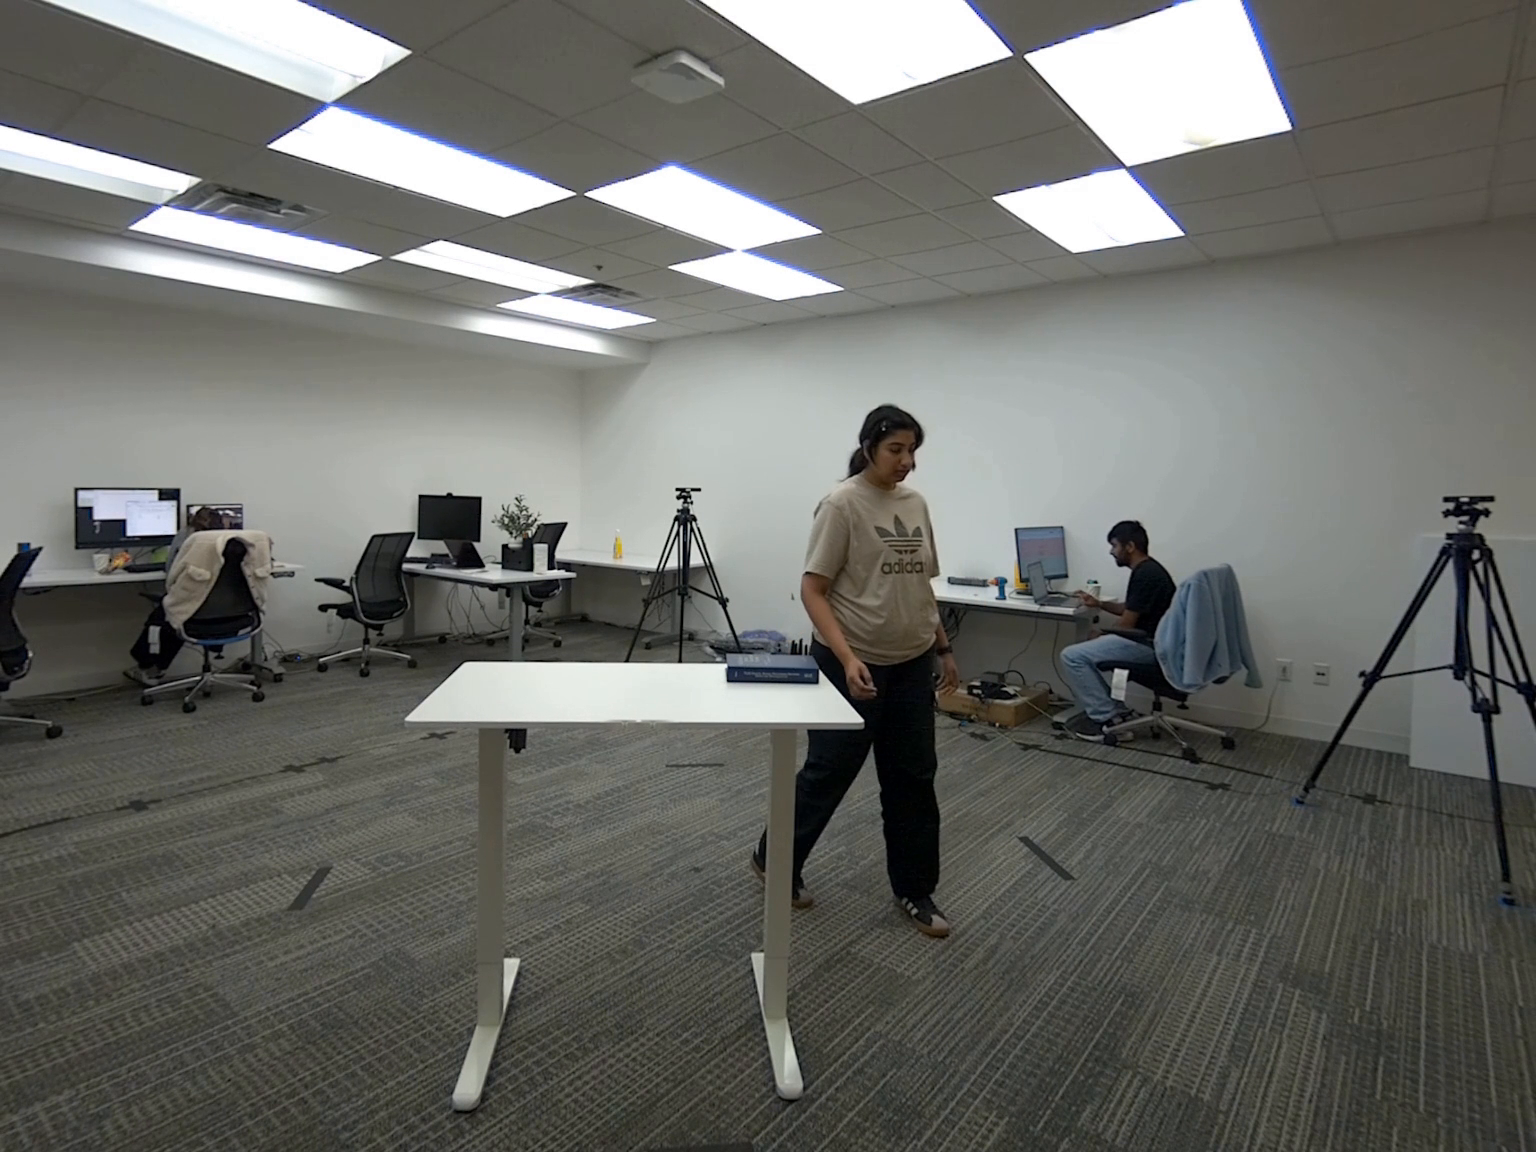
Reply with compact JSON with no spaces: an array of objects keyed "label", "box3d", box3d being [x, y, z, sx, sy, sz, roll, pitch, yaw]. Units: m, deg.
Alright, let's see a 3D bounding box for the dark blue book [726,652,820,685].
[{"label":"dark blue book","box3d":[-0.001,0.251,2.311,0.245,0.045,0.164,2,7,-1]}]
